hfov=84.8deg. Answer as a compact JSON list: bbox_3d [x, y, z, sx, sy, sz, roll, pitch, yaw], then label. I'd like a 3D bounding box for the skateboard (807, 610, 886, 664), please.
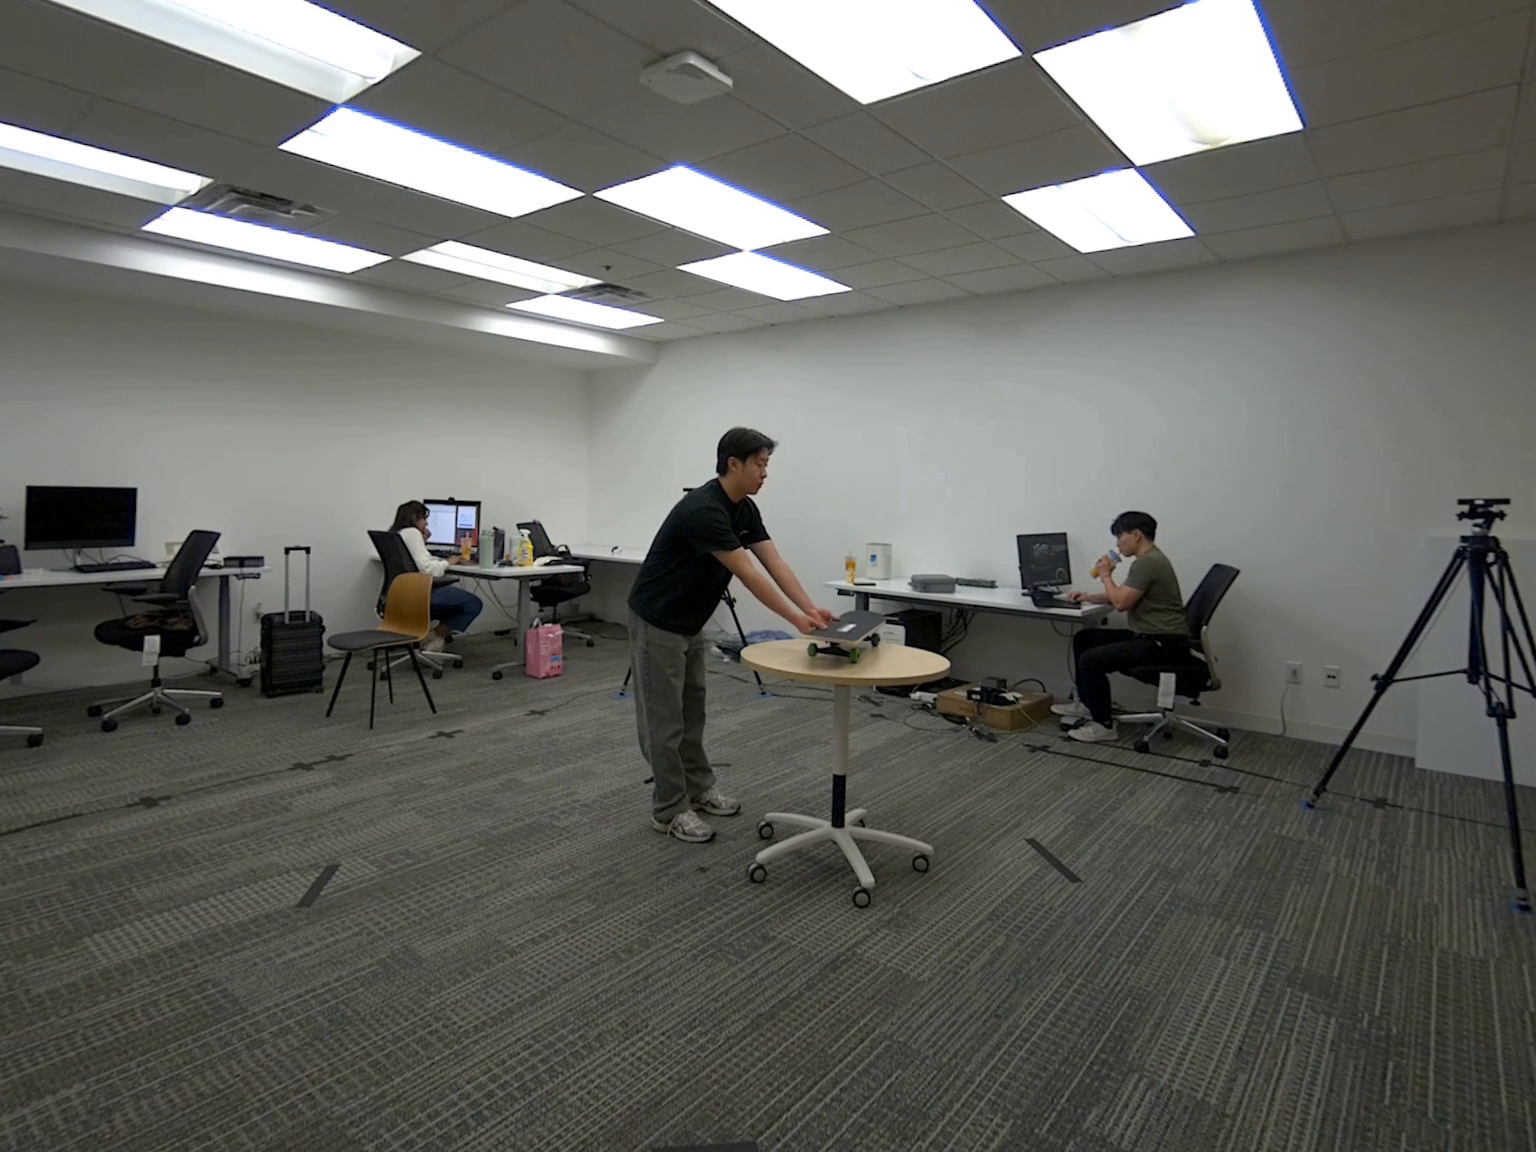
[{"bbox_3d":[0.295,0.226,3.255,0.198,0.110,0.771,8,7,19],"label":"skateboard"}]
